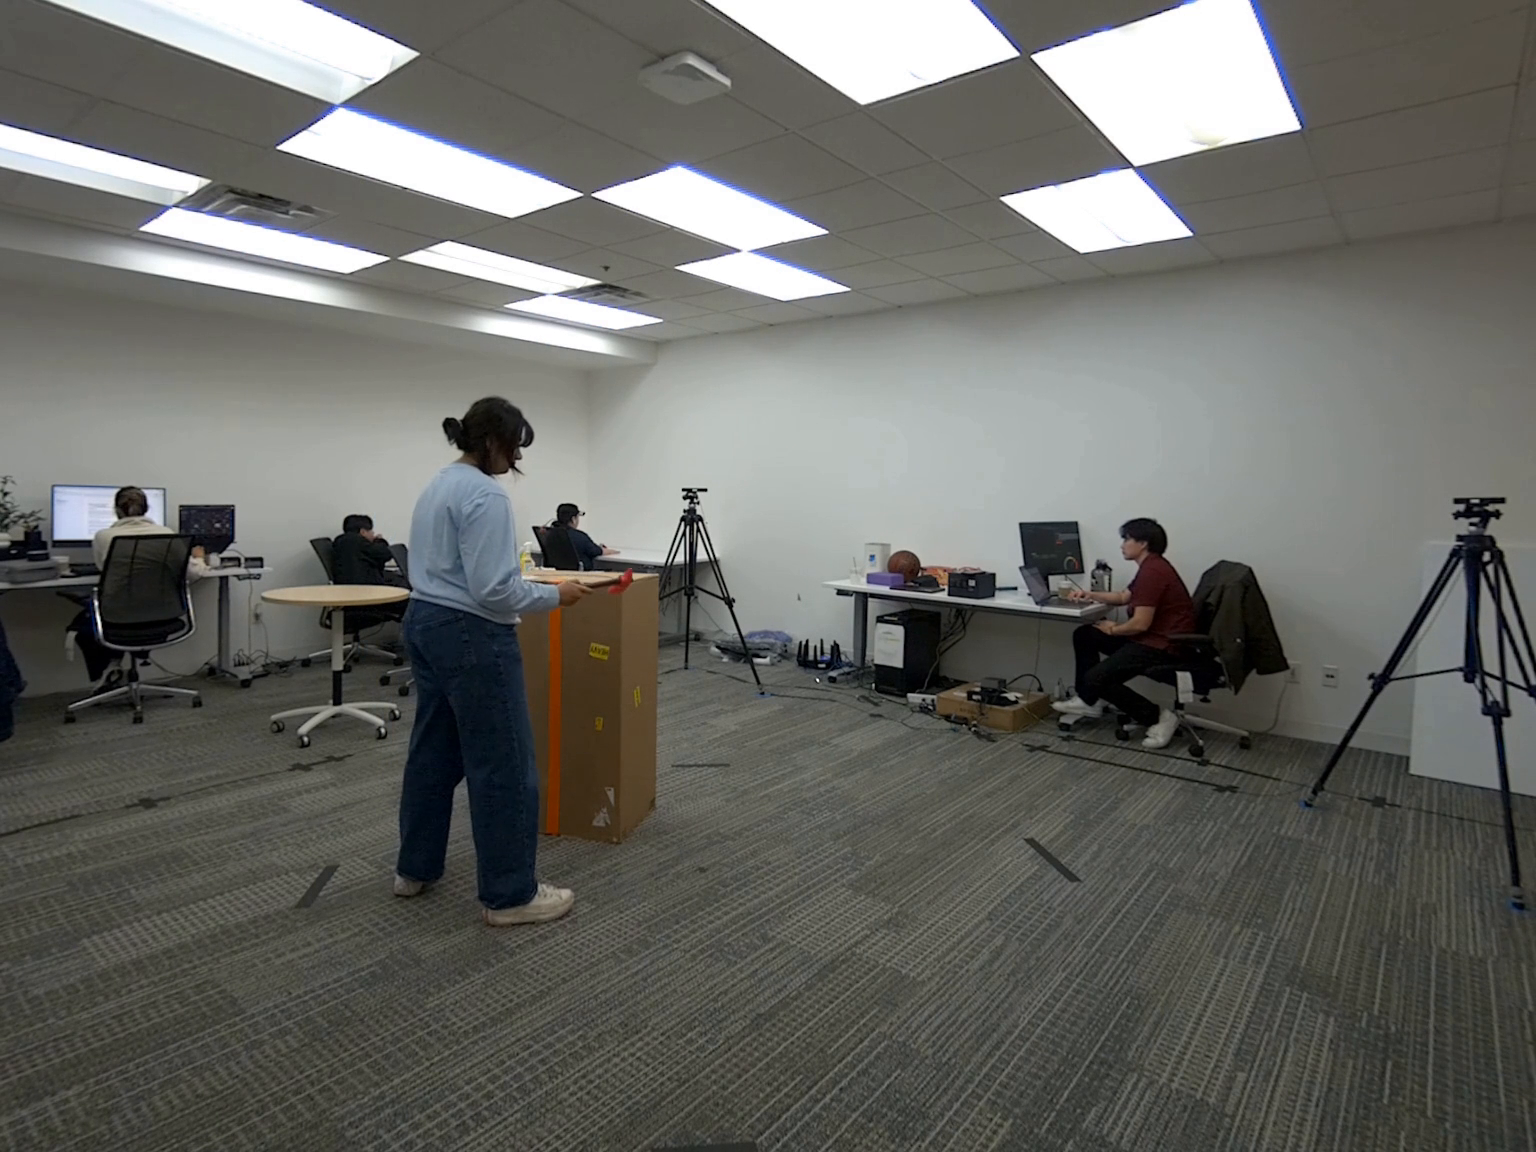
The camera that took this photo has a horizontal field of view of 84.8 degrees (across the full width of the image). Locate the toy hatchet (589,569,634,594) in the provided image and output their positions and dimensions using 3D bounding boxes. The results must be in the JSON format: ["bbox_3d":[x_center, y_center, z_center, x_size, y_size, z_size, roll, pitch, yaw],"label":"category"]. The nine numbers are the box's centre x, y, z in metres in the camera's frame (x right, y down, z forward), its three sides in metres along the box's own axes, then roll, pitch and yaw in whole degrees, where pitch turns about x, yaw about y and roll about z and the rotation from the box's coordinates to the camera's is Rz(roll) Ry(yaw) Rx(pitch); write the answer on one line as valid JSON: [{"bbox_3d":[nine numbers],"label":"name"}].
[{"bbox_3d":[-0.599,0.053,2.912,0.266,0.030,0.128,-18,-29,-19],"label":"toy hatchet"}]
